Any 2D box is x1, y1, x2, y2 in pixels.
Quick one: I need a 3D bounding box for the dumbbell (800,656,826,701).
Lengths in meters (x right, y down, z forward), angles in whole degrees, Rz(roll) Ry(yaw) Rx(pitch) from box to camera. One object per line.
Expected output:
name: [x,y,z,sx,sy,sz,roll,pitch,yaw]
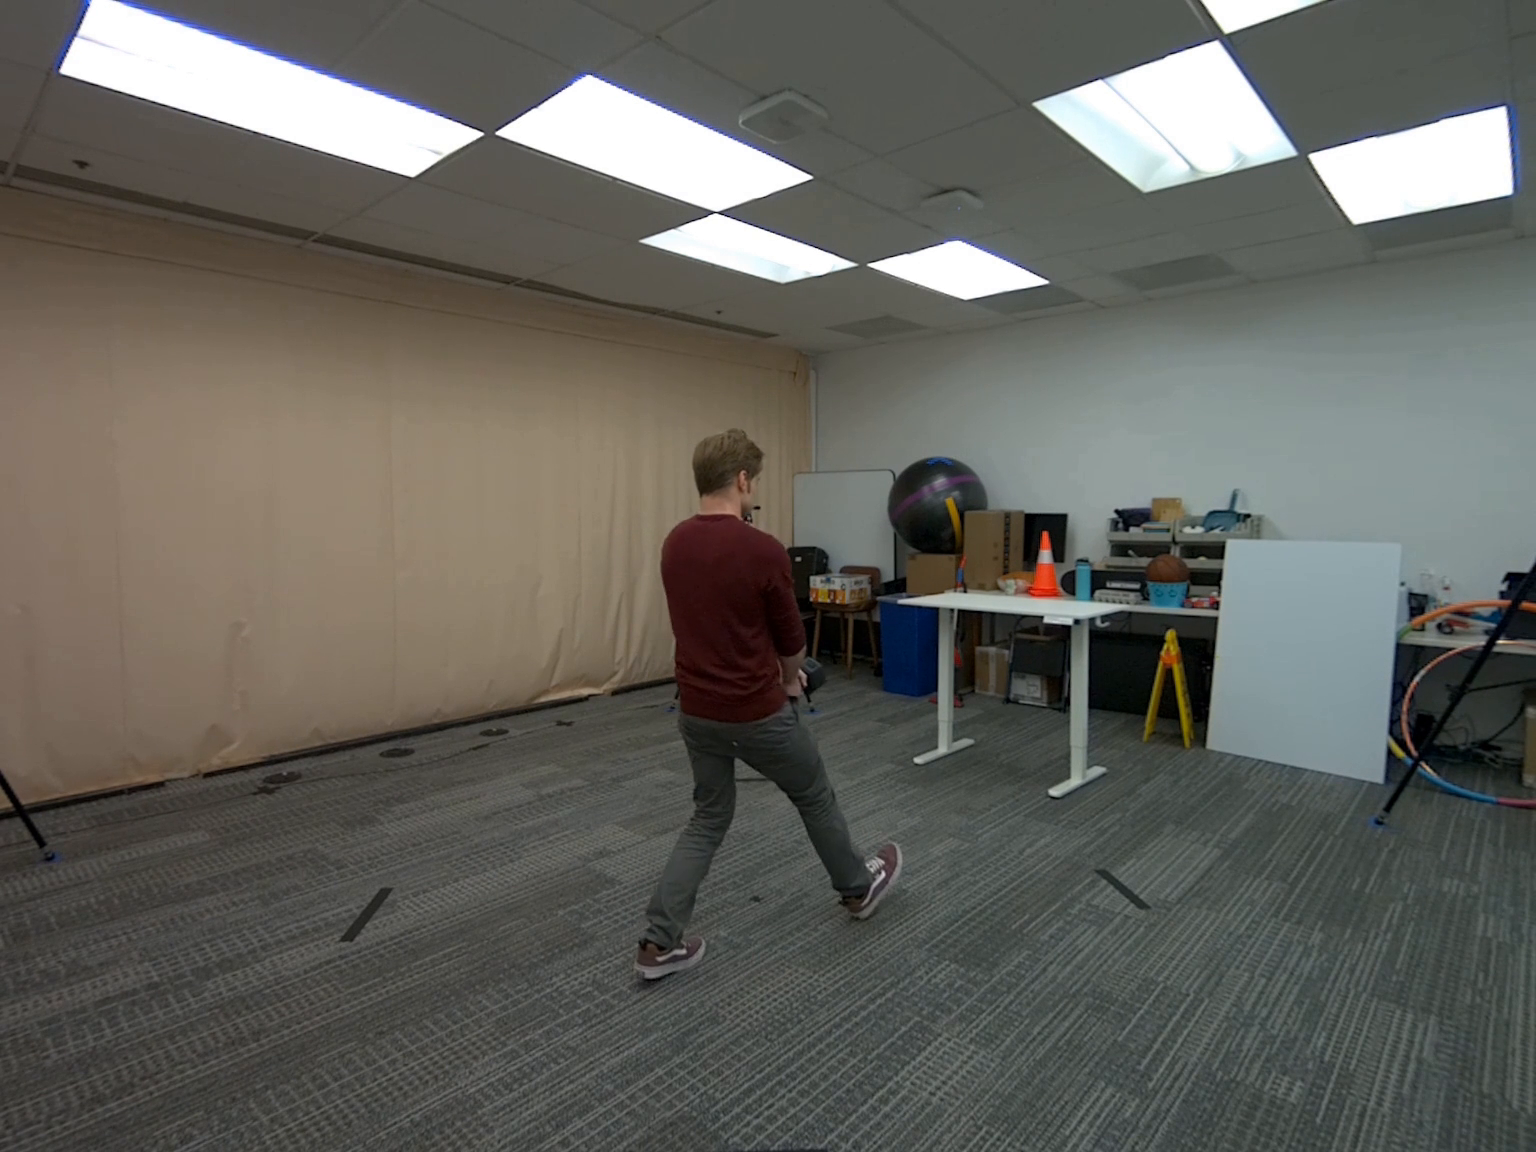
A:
dumbbell: [0.085,0.390,2.843,0.287,0.110,0.124,-25,-17,-40]
